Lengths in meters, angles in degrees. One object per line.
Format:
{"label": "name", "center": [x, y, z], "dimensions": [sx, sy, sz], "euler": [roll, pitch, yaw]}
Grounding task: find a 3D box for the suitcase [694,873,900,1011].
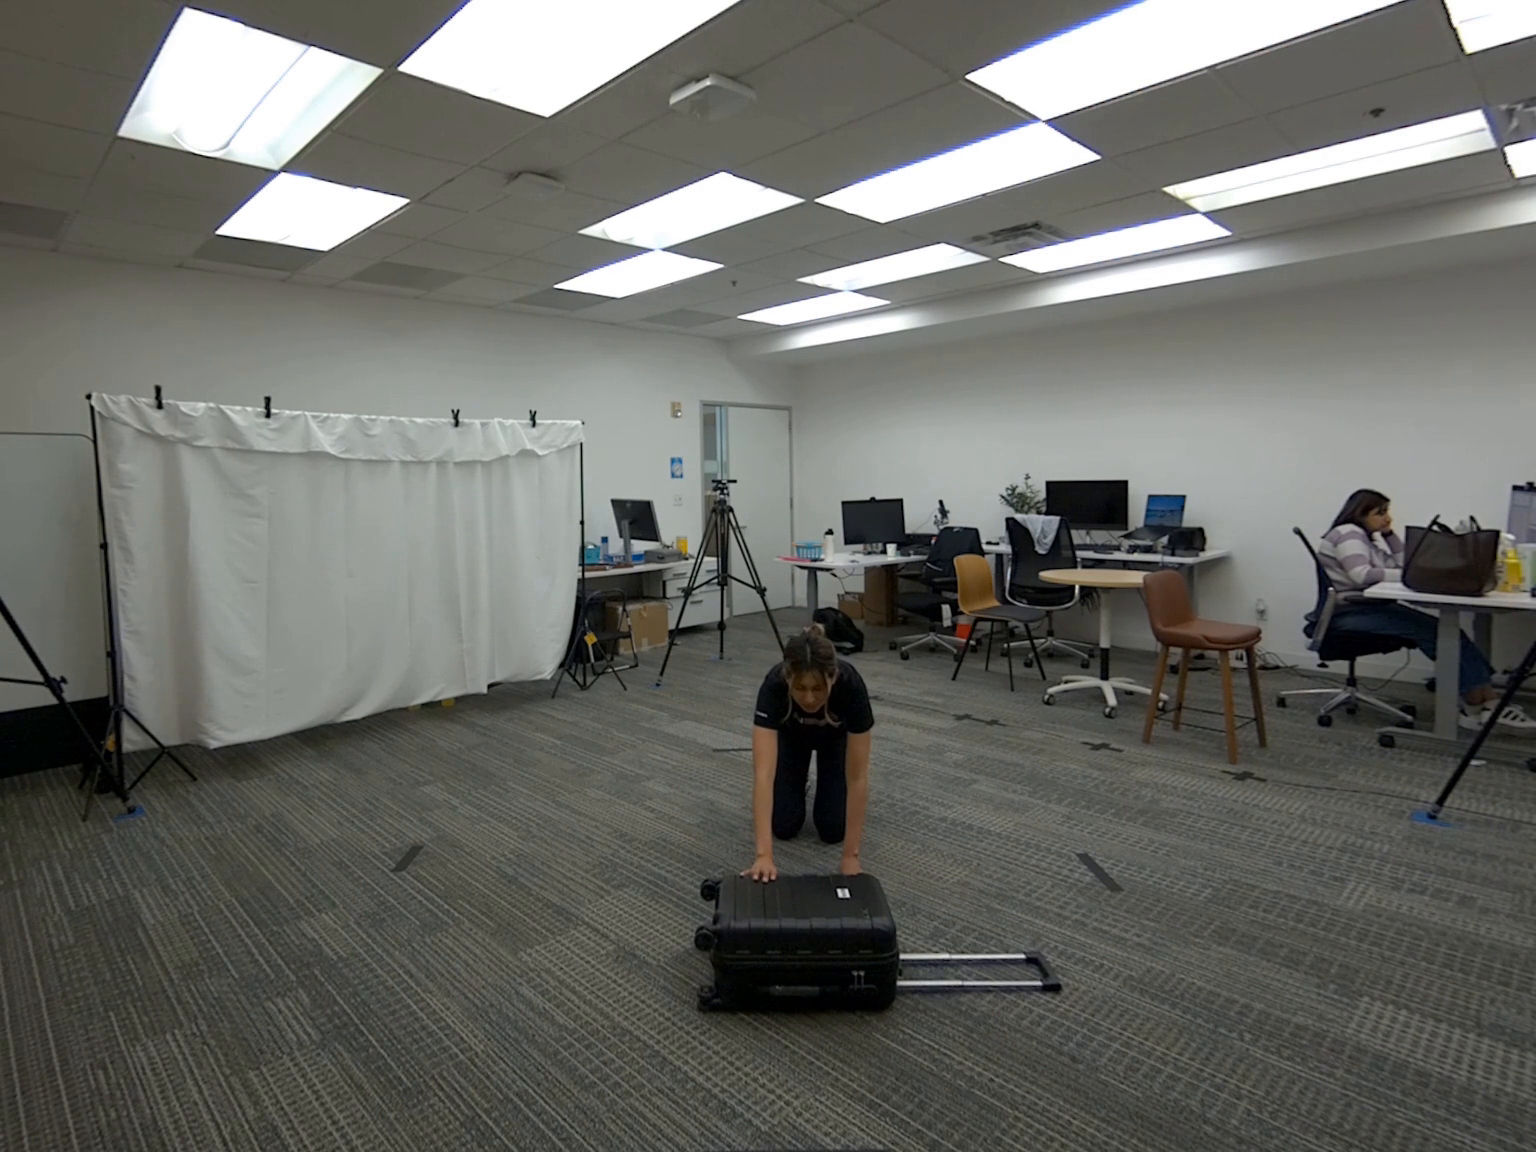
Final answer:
{"label": "suitcase", "center": [0.293, 1.005, 2.377], "dimensions": [0.980, 0.256, 0.385], "euler": [-3, 4, 1]}
